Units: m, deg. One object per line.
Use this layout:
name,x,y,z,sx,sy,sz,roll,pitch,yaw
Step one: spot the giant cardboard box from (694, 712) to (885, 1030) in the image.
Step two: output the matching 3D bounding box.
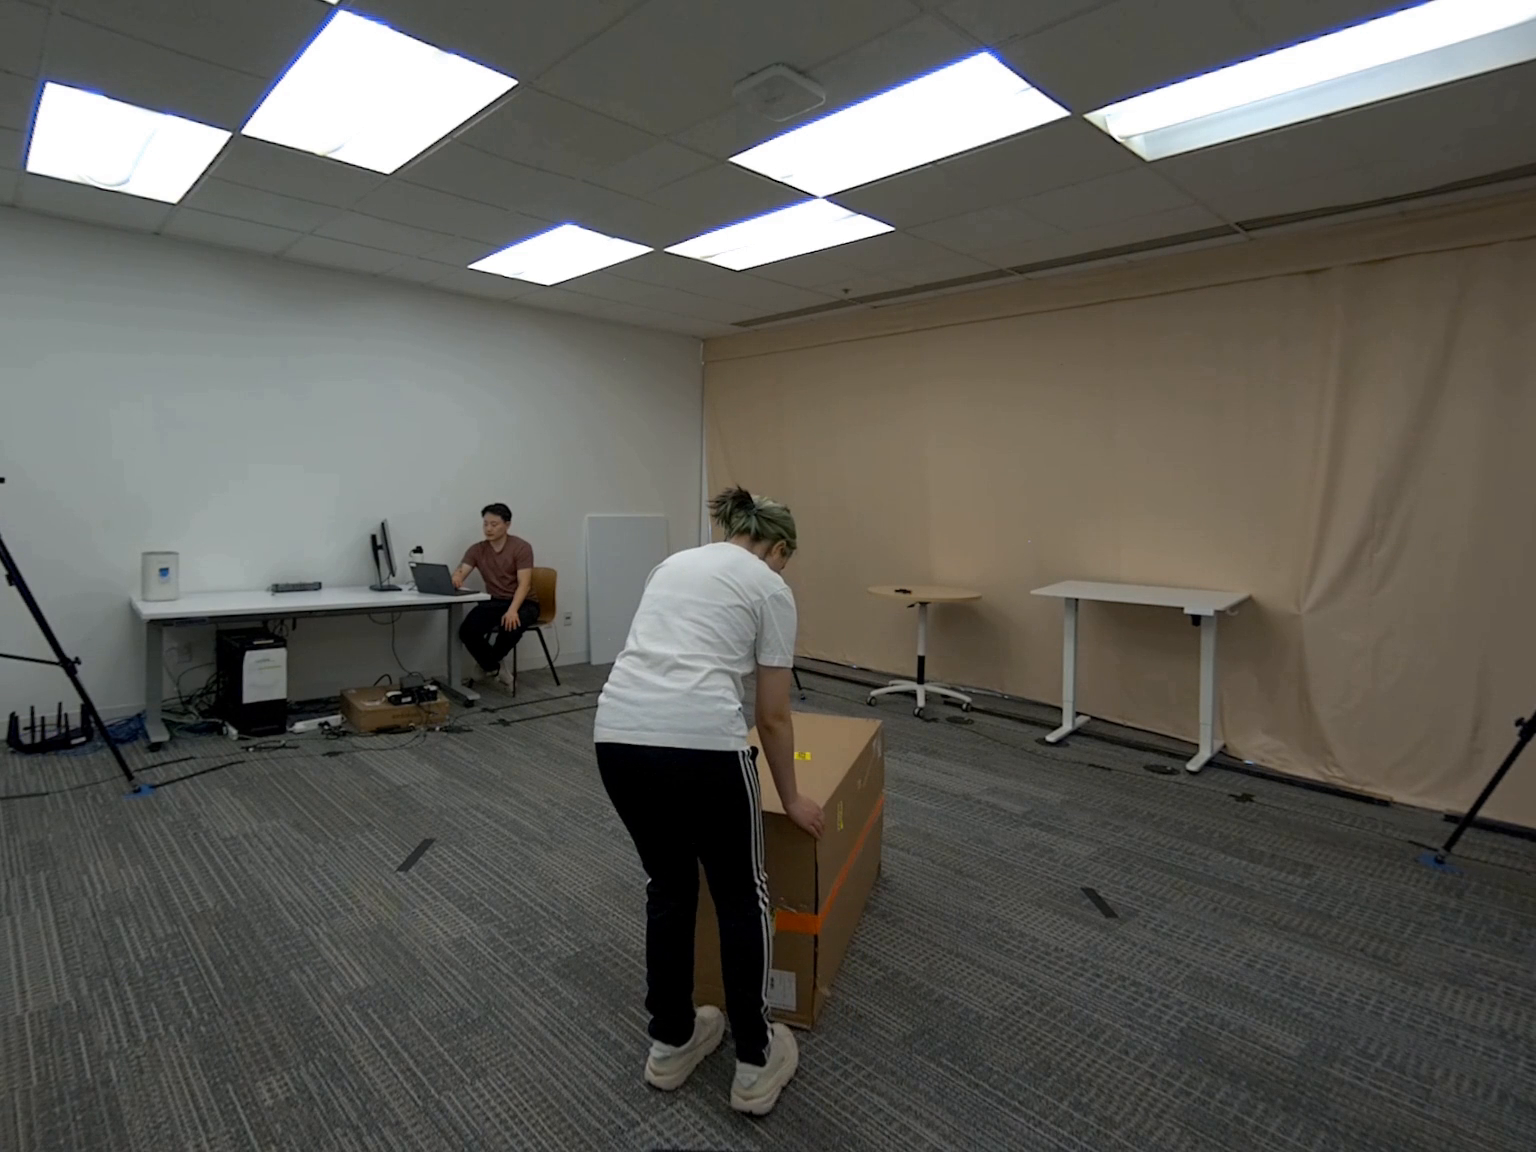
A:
giant cardboard box,0.070,0.858,2.725,0.453,0.582,1.015,3,6,17
